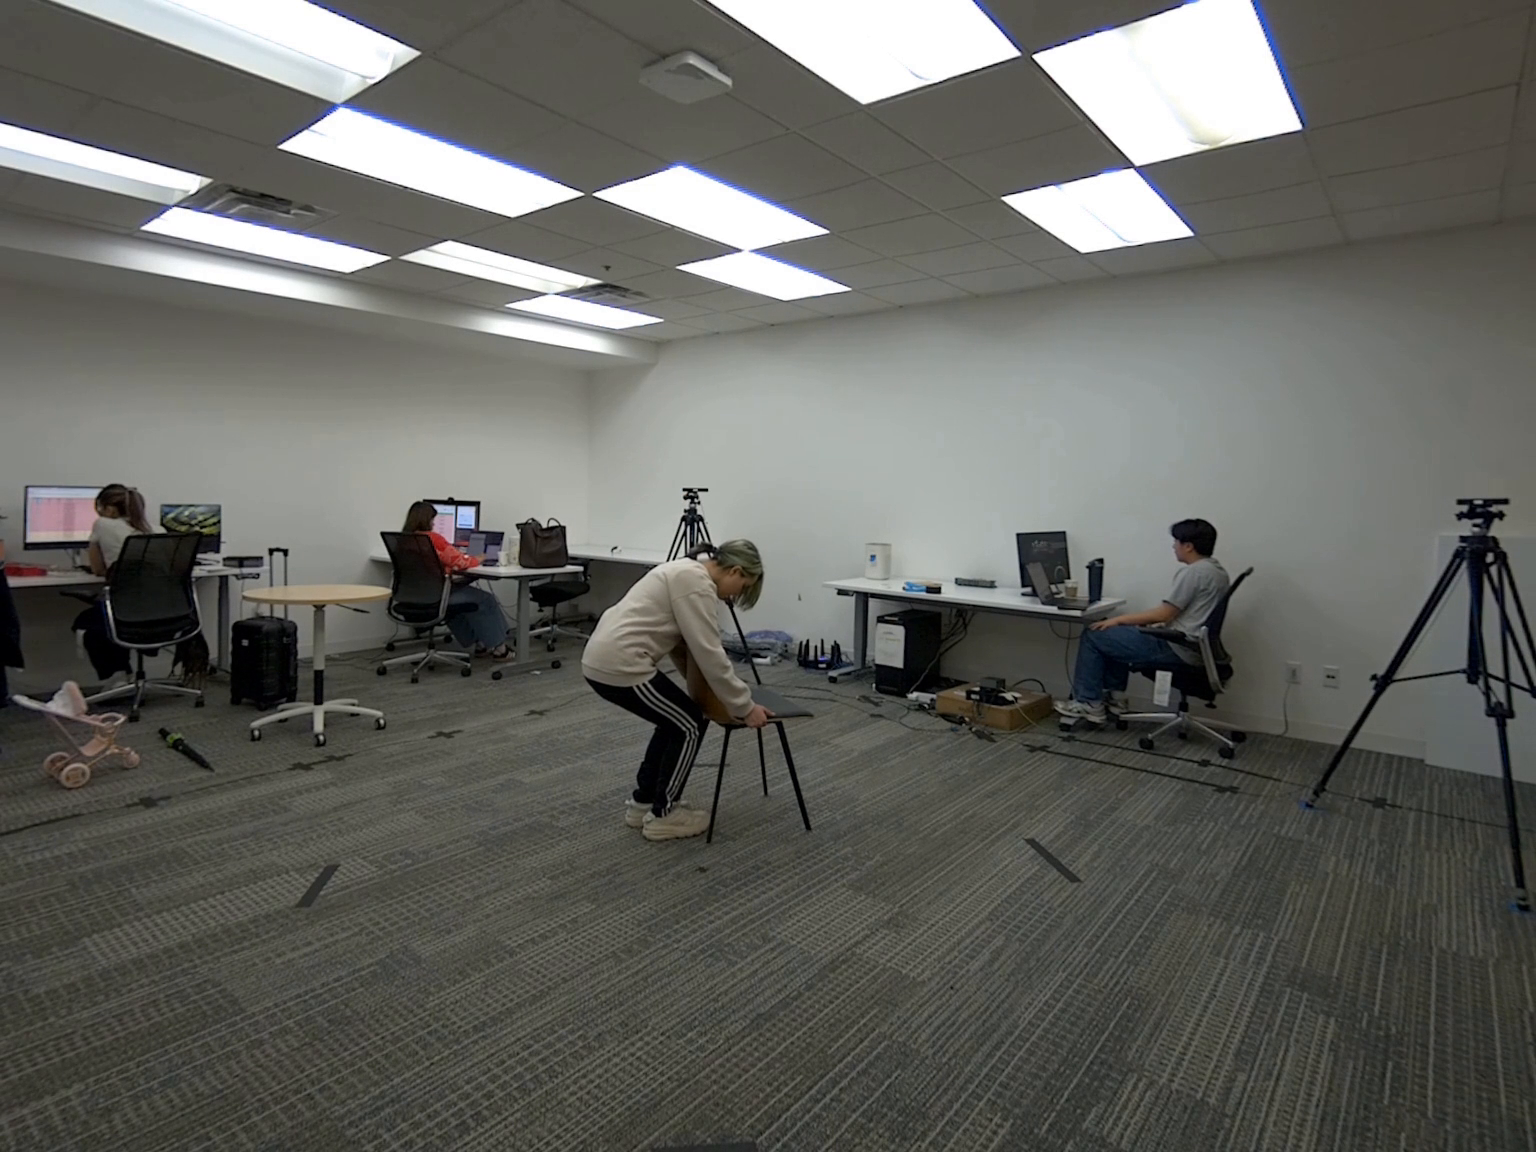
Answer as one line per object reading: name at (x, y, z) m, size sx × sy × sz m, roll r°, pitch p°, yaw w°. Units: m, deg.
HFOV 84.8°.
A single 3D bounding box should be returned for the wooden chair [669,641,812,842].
wooden chair at (-0.106, 0.600, 3.595) m, size 0.513 × 0.874 × 0.490 m, roll -5°, pitch 5°, yaw -22°
